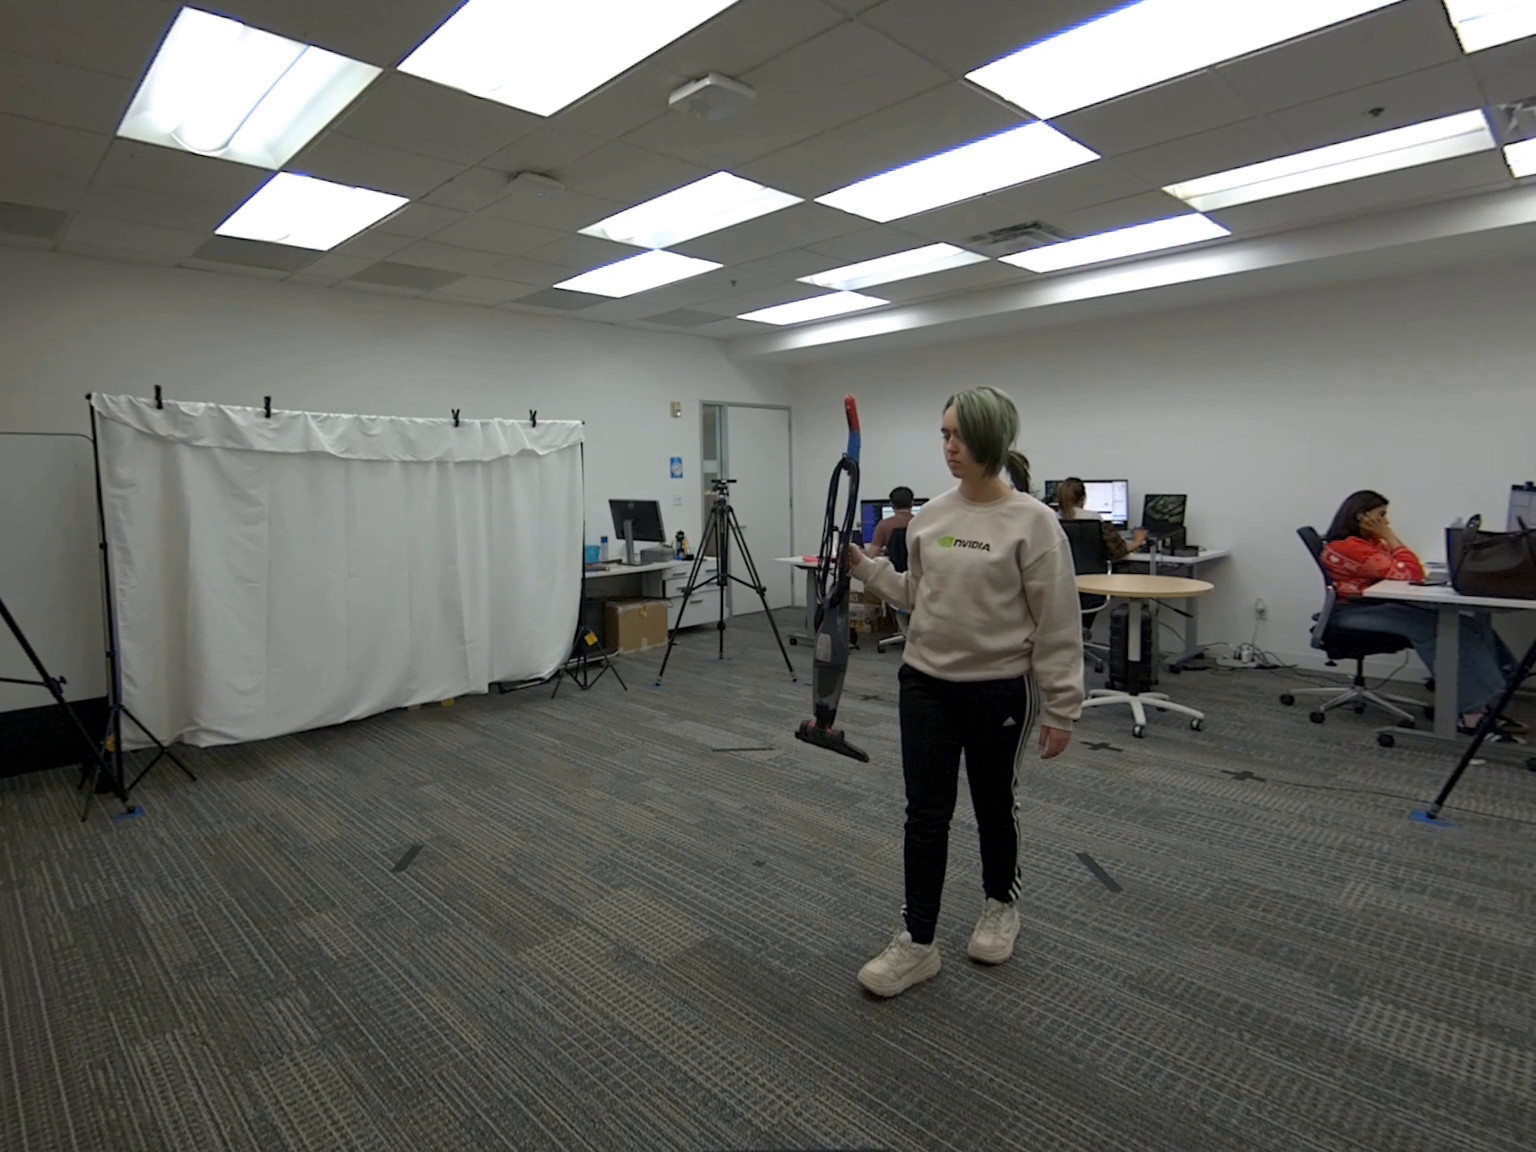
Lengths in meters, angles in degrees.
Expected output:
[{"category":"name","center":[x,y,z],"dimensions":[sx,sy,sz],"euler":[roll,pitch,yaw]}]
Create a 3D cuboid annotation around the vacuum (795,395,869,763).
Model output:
[{"category":"vacuum","center":[0.208,0.009,2.559],"dimensions":[0.261,1.041,0.140],"euler":[10,11,37]}]
